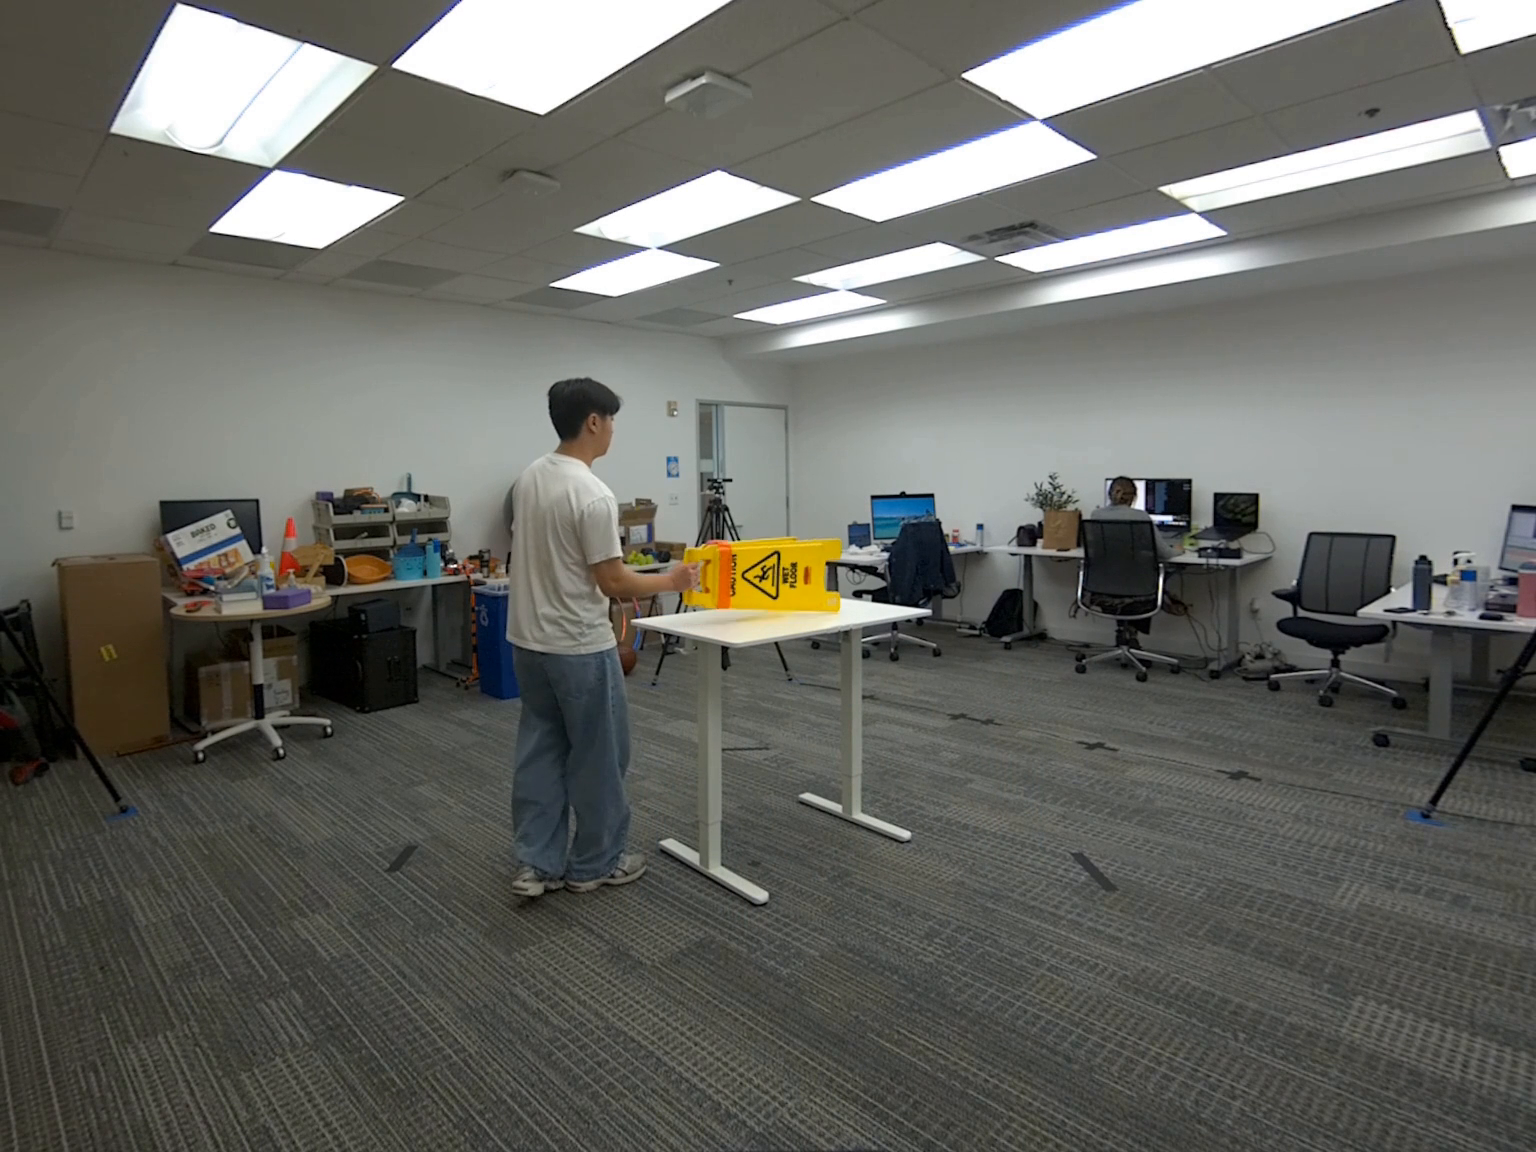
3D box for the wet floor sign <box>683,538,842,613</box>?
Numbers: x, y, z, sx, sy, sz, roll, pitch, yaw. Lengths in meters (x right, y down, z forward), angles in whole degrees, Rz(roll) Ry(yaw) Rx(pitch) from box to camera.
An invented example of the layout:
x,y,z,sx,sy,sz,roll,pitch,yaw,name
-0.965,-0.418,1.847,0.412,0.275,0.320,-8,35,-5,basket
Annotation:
x,y,z,sx,sy,sz,roll,pitch,yaw,name
-0.046,-0.011,3.147,0.628,0.282,0.298,-1,2,-42,wet floor sign
